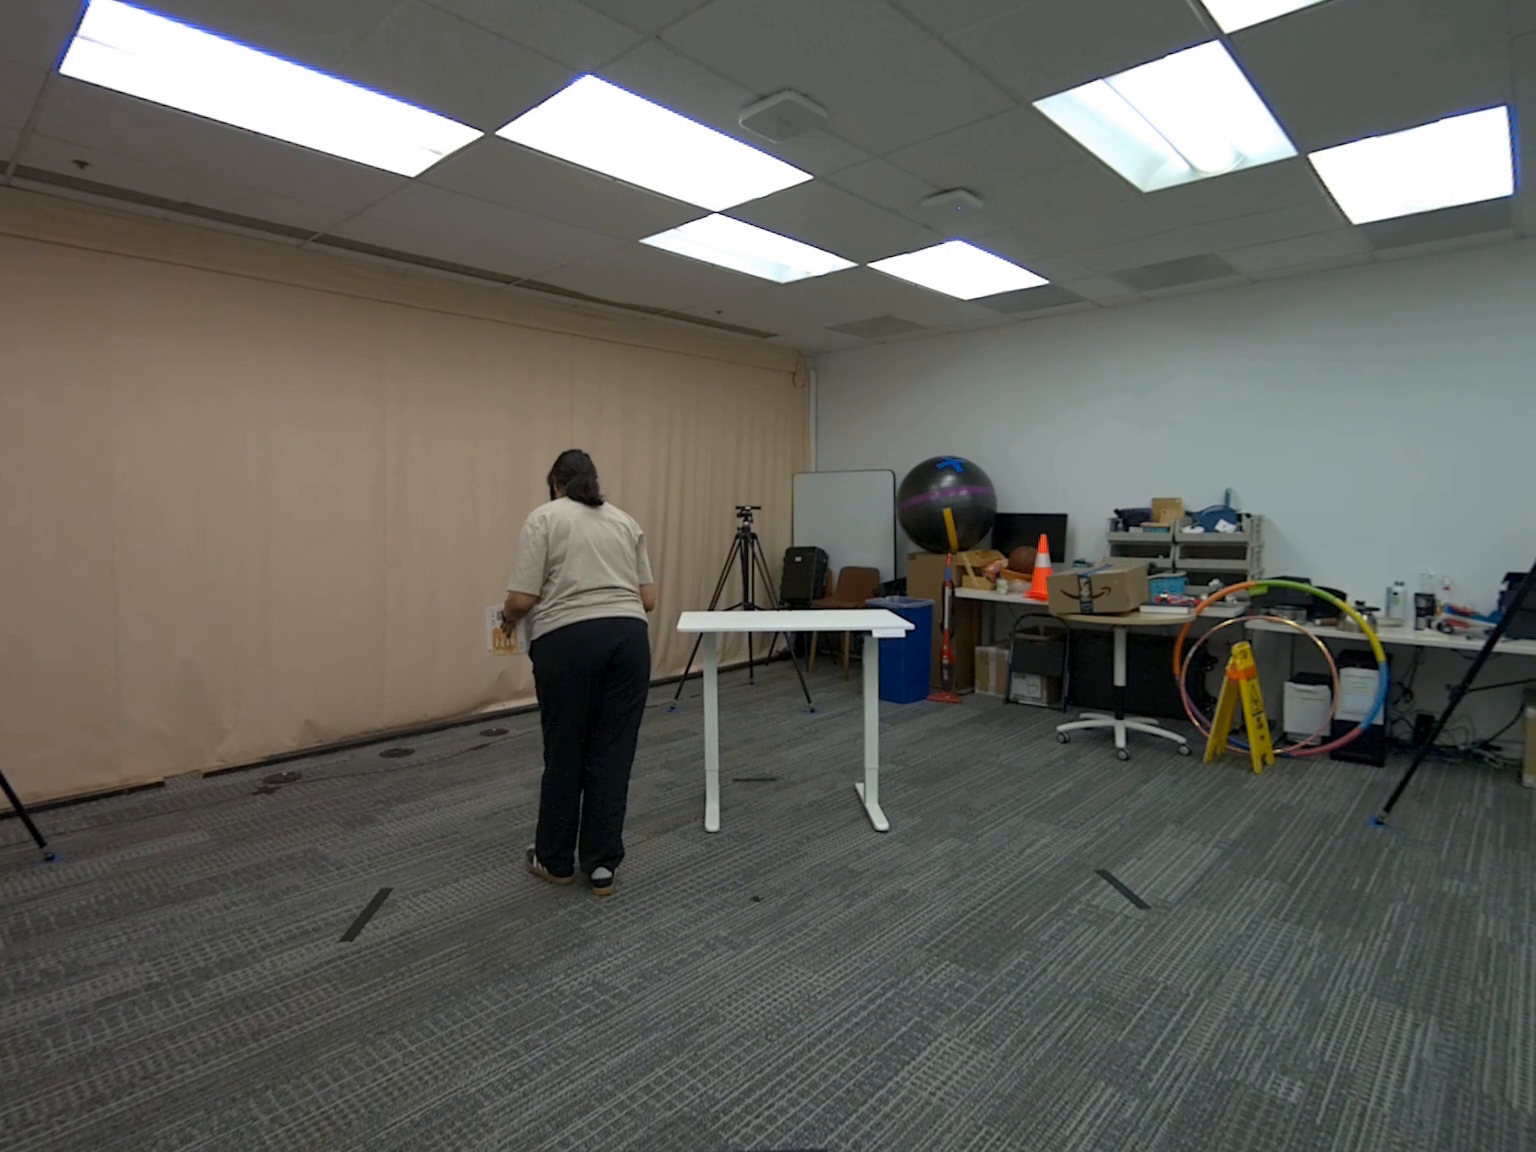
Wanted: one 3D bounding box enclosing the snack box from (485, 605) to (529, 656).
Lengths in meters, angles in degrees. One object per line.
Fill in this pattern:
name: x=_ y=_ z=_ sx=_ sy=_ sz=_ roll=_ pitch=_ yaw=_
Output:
snack box: x=-0.914 y=0.204 z=3.406 sx=0.330 sy=0.206 sz=0.416 roll=-2 pitch=-5 yaw=-36
